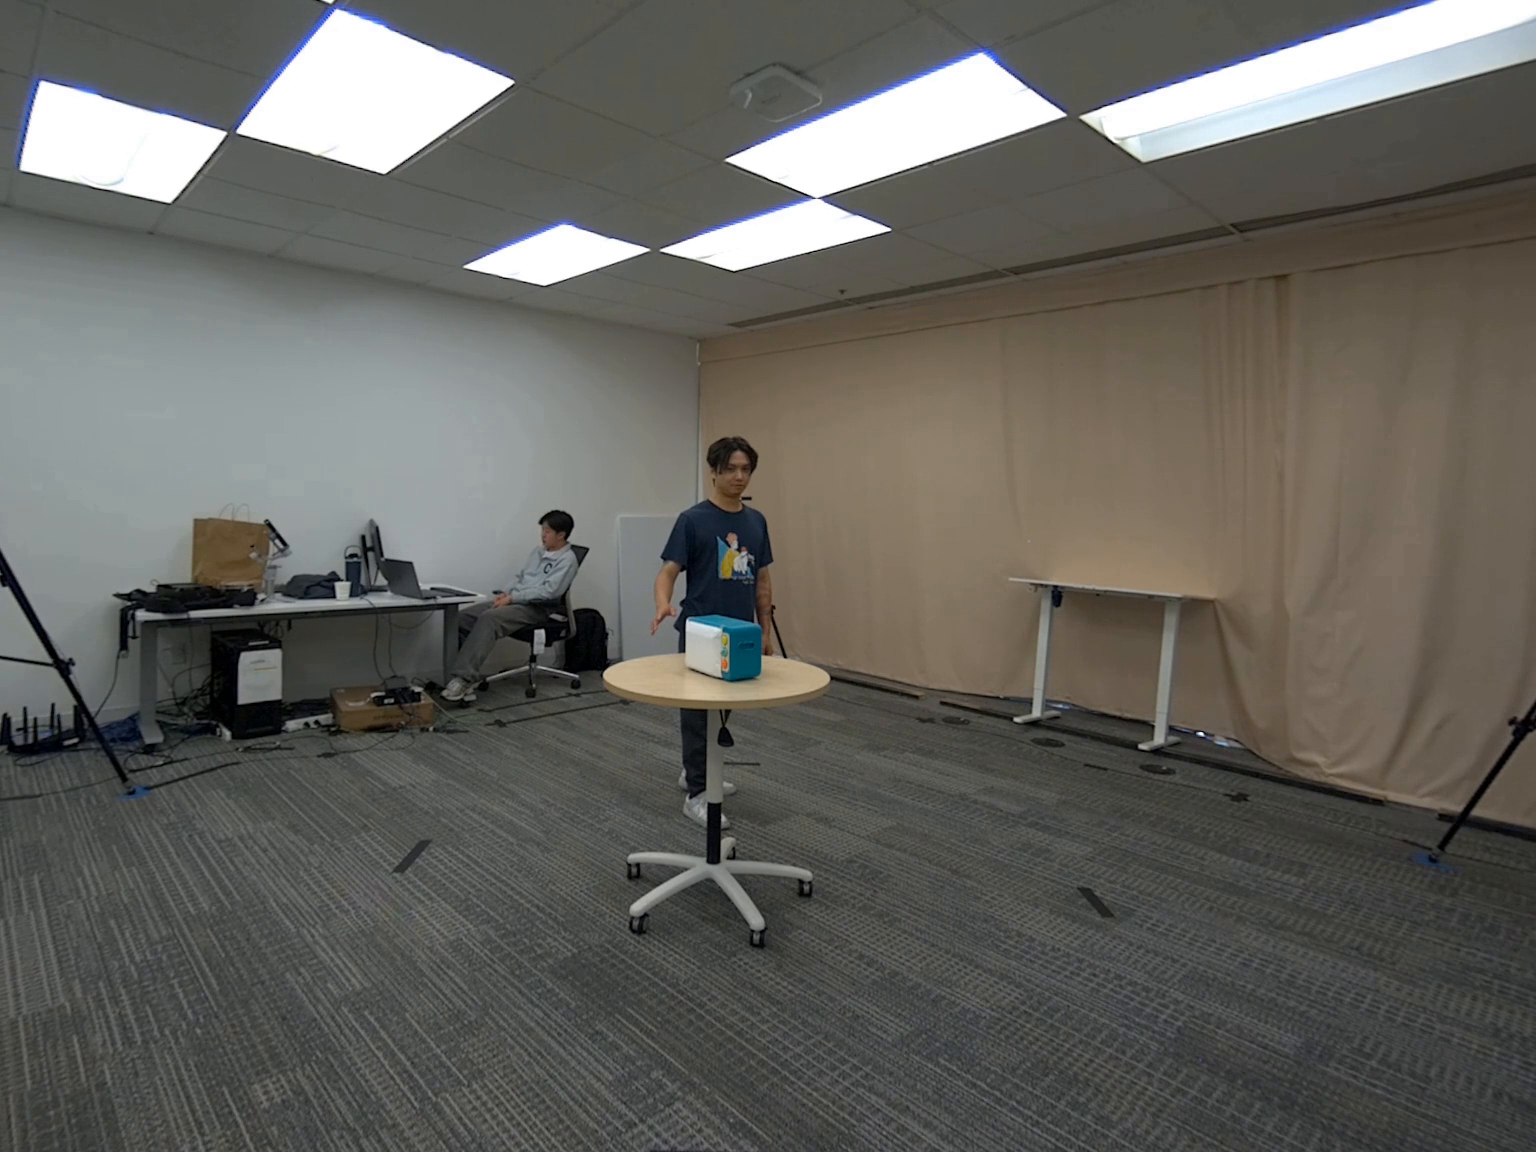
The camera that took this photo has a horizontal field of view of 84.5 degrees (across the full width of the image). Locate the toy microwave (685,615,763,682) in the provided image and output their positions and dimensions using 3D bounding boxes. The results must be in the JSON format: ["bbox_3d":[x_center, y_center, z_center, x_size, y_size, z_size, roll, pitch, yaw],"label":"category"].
[{"bbox_3d":[-0.166,0.242,2.844,0.149,0.183,0.293,-2,5,-35],"label":"toy microwave"}]
